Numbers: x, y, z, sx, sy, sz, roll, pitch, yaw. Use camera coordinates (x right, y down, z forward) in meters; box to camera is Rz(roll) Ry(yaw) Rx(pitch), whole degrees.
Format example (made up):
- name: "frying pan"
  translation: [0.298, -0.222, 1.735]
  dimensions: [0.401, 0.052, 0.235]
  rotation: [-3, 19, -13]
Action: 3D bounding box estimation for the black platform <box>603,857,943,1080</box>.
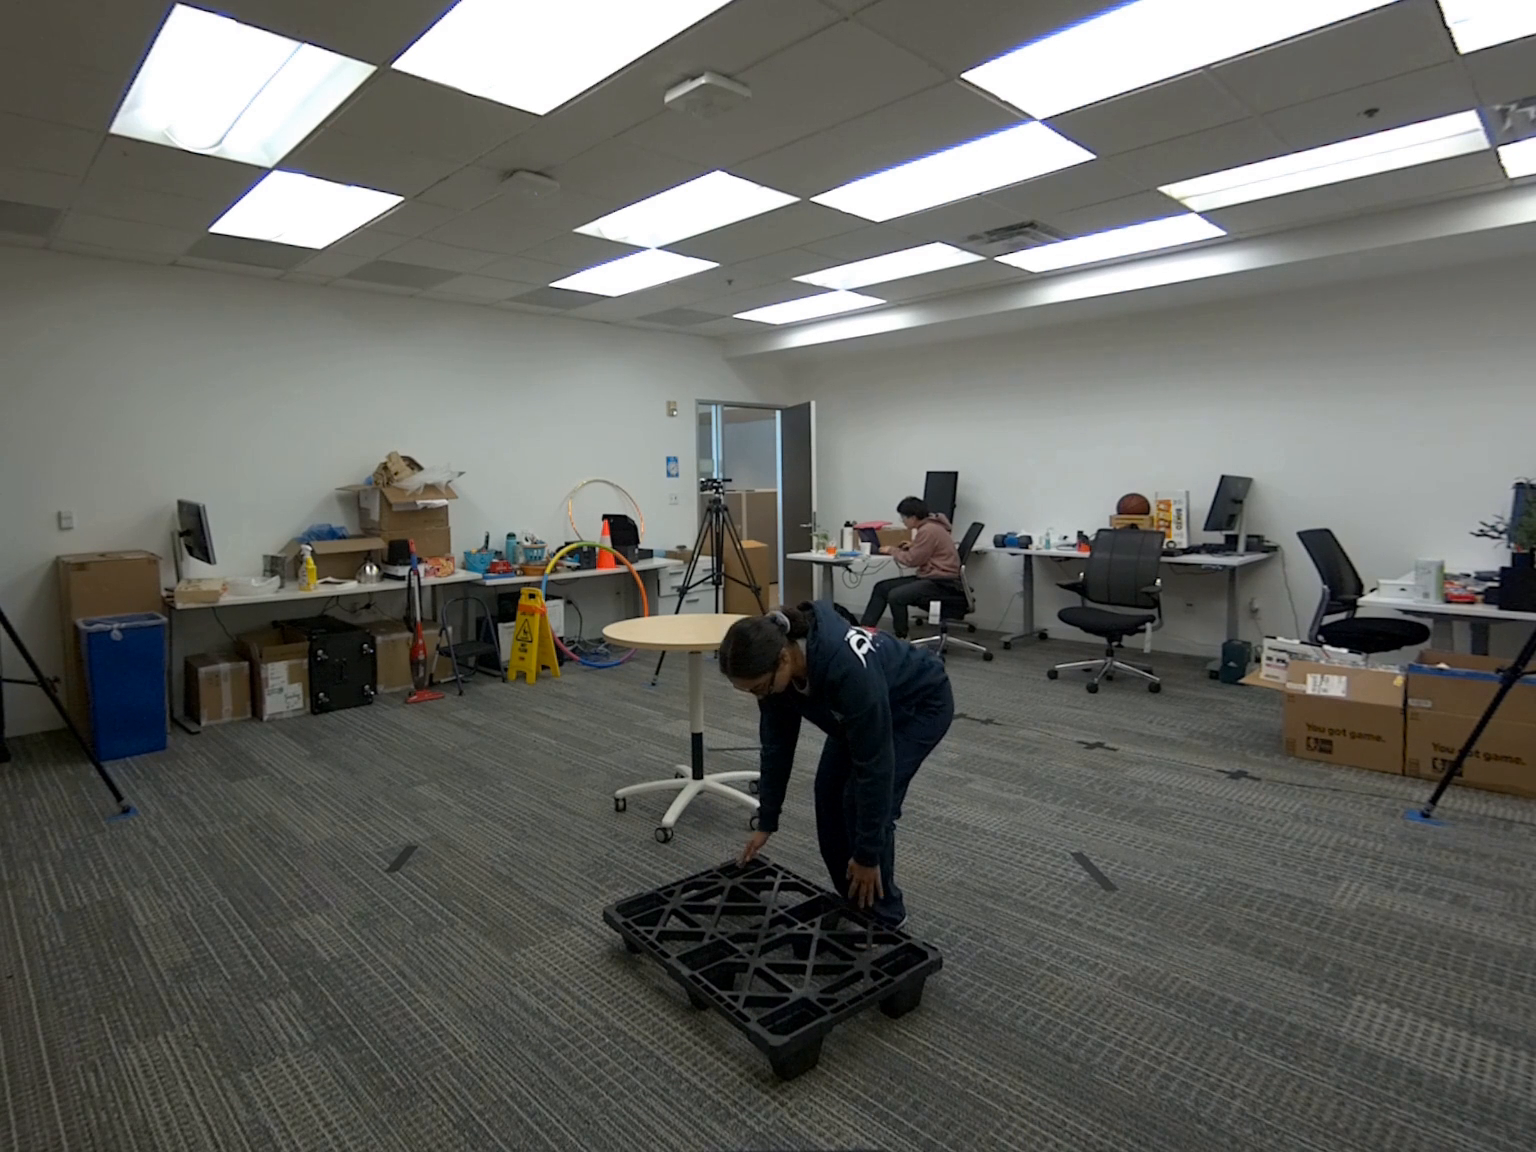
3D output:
- name: "black platform"
  translation: [-0.014, 1.061, 2.408]
  dimensions: [0.589, 0.142, 0.831]
  rotation: [-5, 8, -38]
